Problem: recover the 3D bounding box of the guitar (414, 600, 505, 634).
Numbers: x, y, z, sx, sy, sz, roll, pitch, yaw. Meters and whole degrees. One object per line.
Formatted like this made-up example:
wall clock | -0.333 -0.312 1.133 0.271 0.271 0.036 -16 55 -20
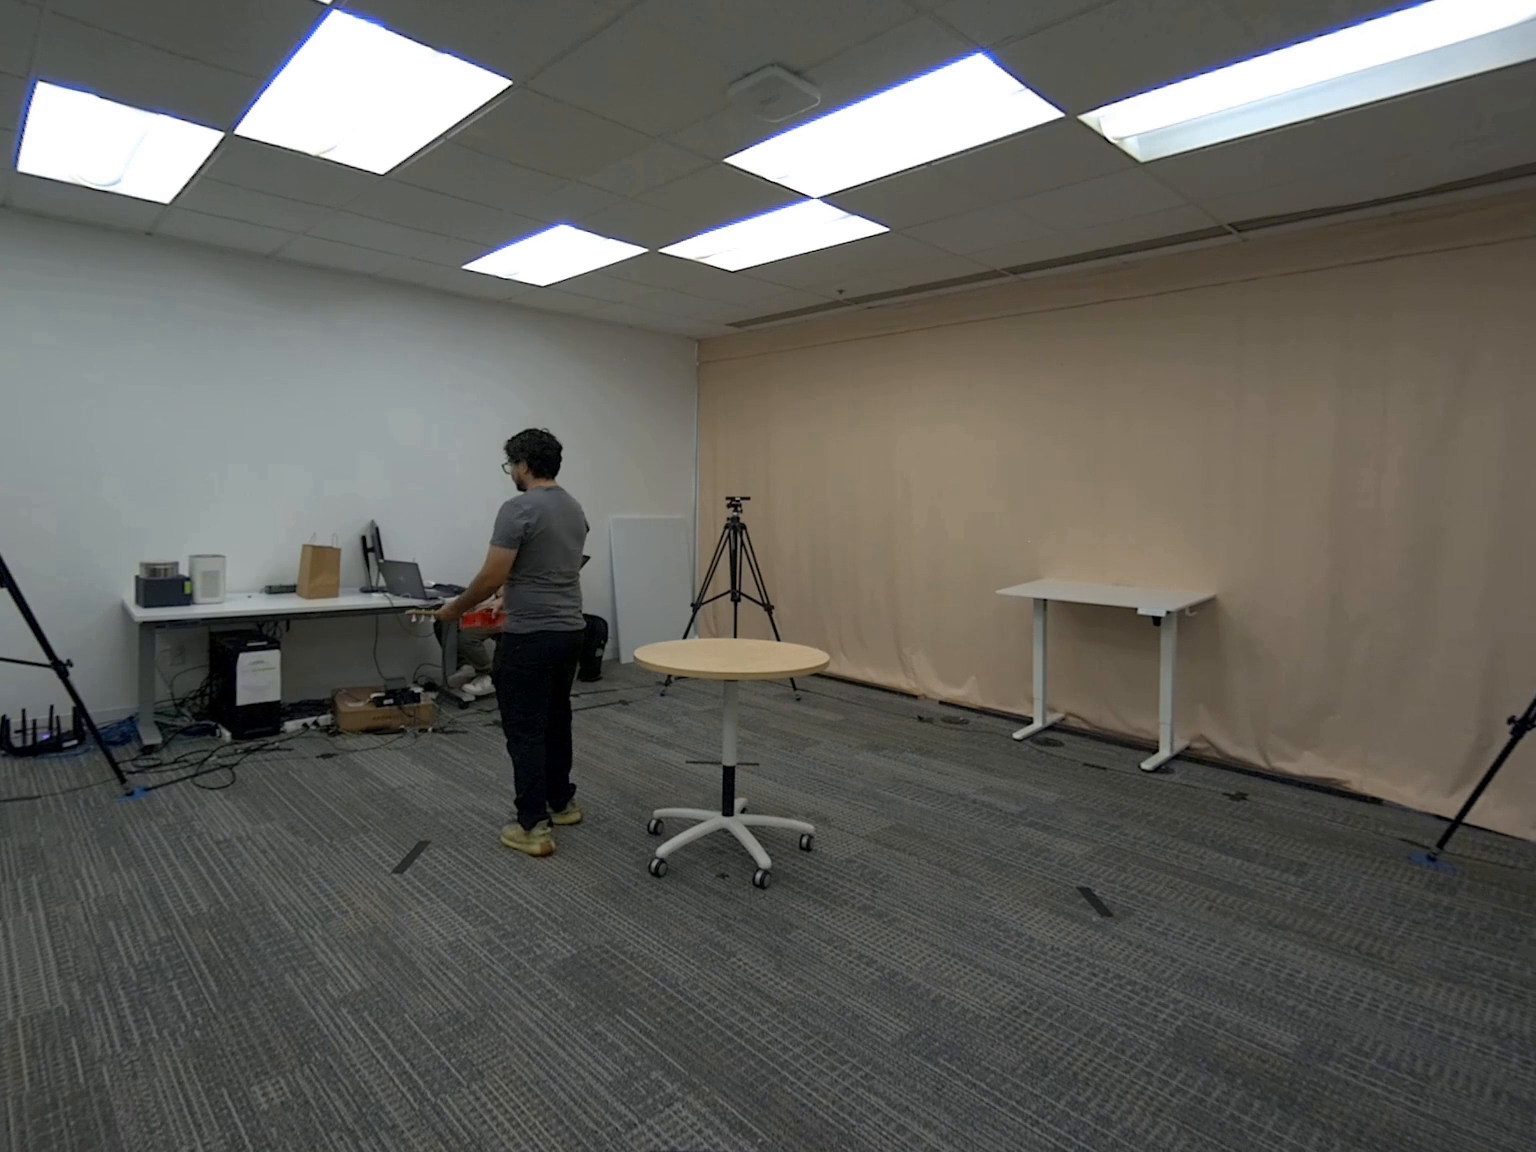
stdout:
guitar | -1.252 0.189 3.481 0.487 0.071 0.195 1 -13 -32
